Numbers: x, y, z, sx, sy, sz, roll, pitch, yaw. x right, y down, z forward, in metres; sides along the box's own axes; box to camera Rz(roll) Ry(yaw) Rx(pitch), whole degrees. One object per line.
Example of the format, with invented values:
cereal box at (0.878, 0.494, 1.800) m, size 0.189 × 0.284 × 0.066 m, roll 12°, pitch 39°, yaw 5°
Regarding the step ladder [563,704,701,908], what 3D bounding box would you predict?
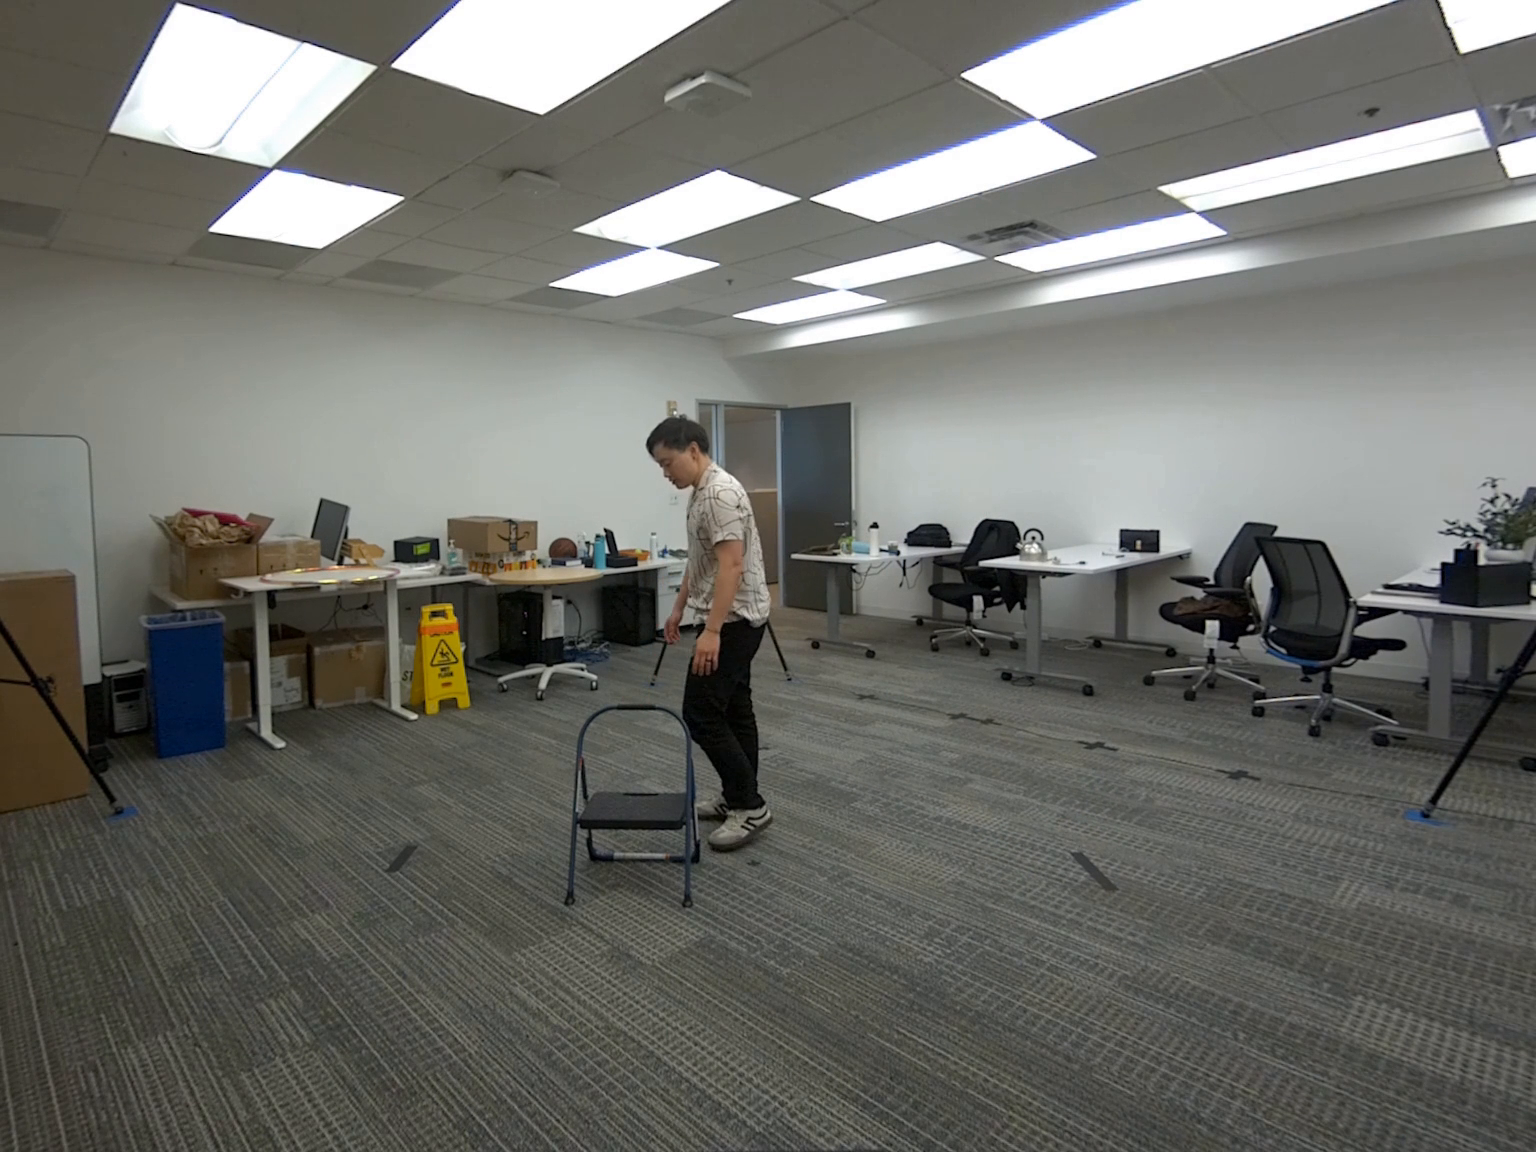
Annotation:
step ladder at (-0.465, 0.767, 2.964) m, size 0.432 × 0.604 × 0.349 m, roll -1°, pitch 4°, yaw 3°
